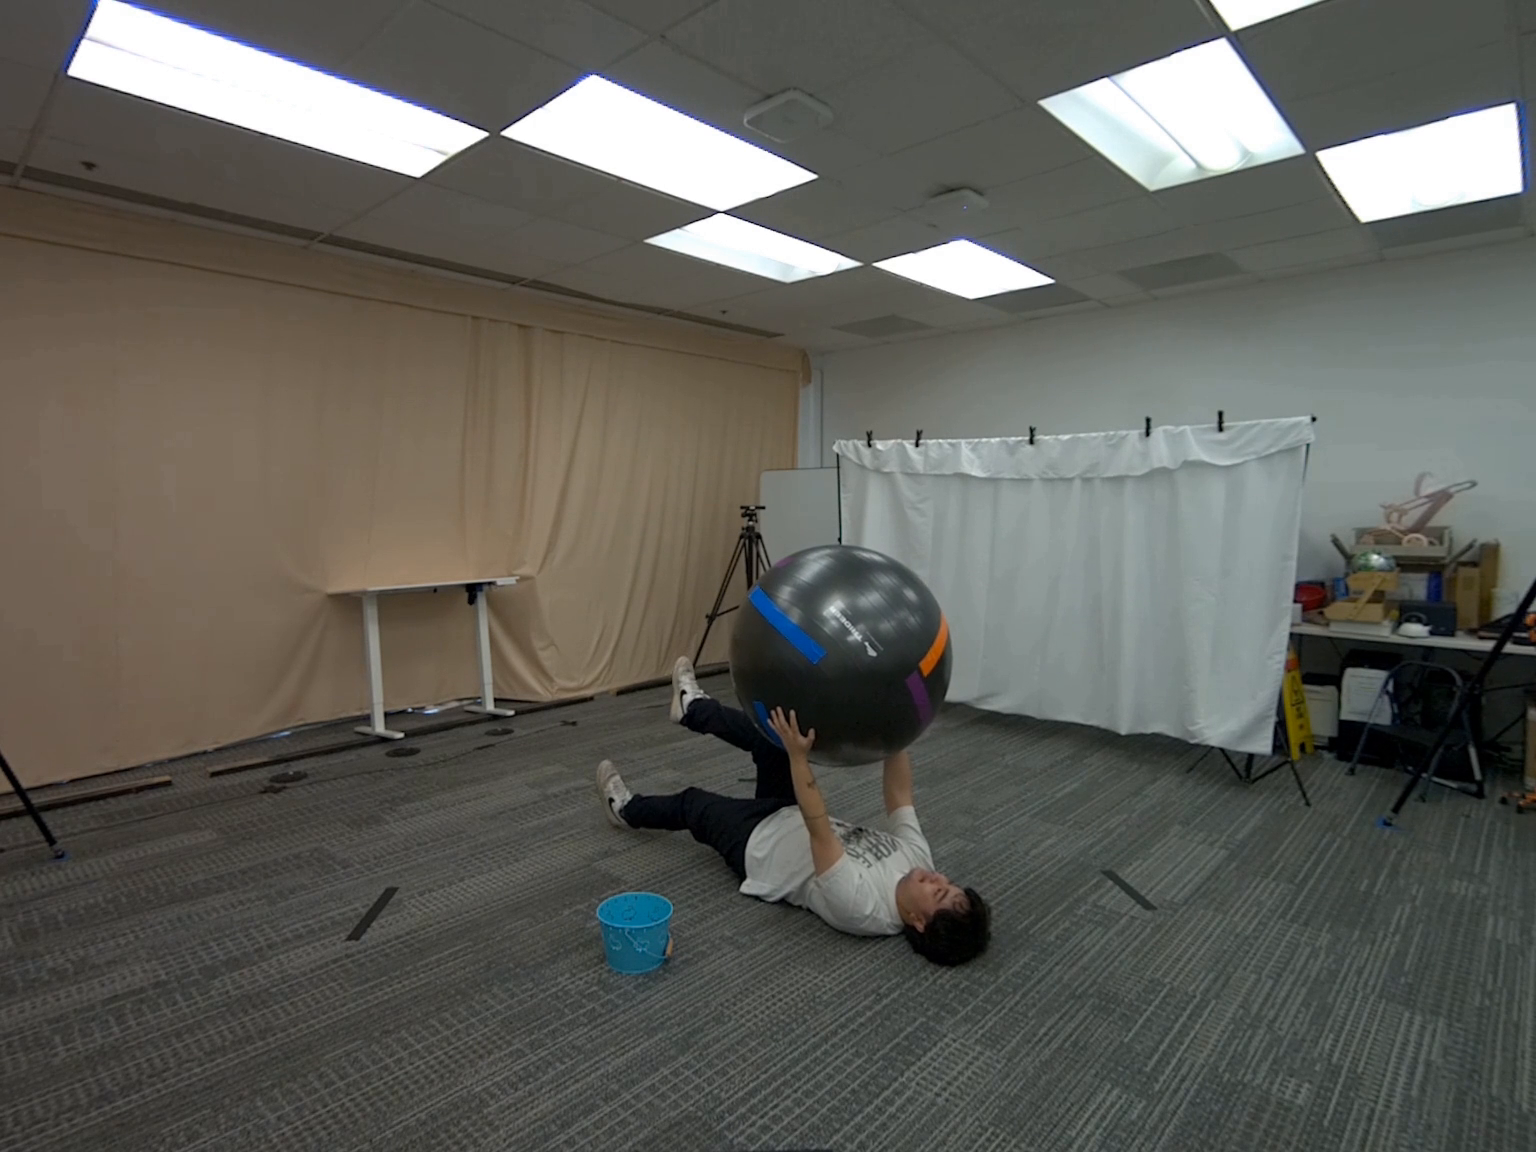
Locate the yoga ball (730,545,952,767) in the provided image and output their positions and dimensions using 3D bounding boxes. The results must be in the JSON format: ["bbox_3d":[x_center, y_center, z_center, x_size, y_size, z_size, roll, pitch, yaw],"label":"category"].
[{"bbox_3d":[0.247,0.276,2.903,0.757,0.756,0.761,0,4,-2],"label":"yoga ball"}]
